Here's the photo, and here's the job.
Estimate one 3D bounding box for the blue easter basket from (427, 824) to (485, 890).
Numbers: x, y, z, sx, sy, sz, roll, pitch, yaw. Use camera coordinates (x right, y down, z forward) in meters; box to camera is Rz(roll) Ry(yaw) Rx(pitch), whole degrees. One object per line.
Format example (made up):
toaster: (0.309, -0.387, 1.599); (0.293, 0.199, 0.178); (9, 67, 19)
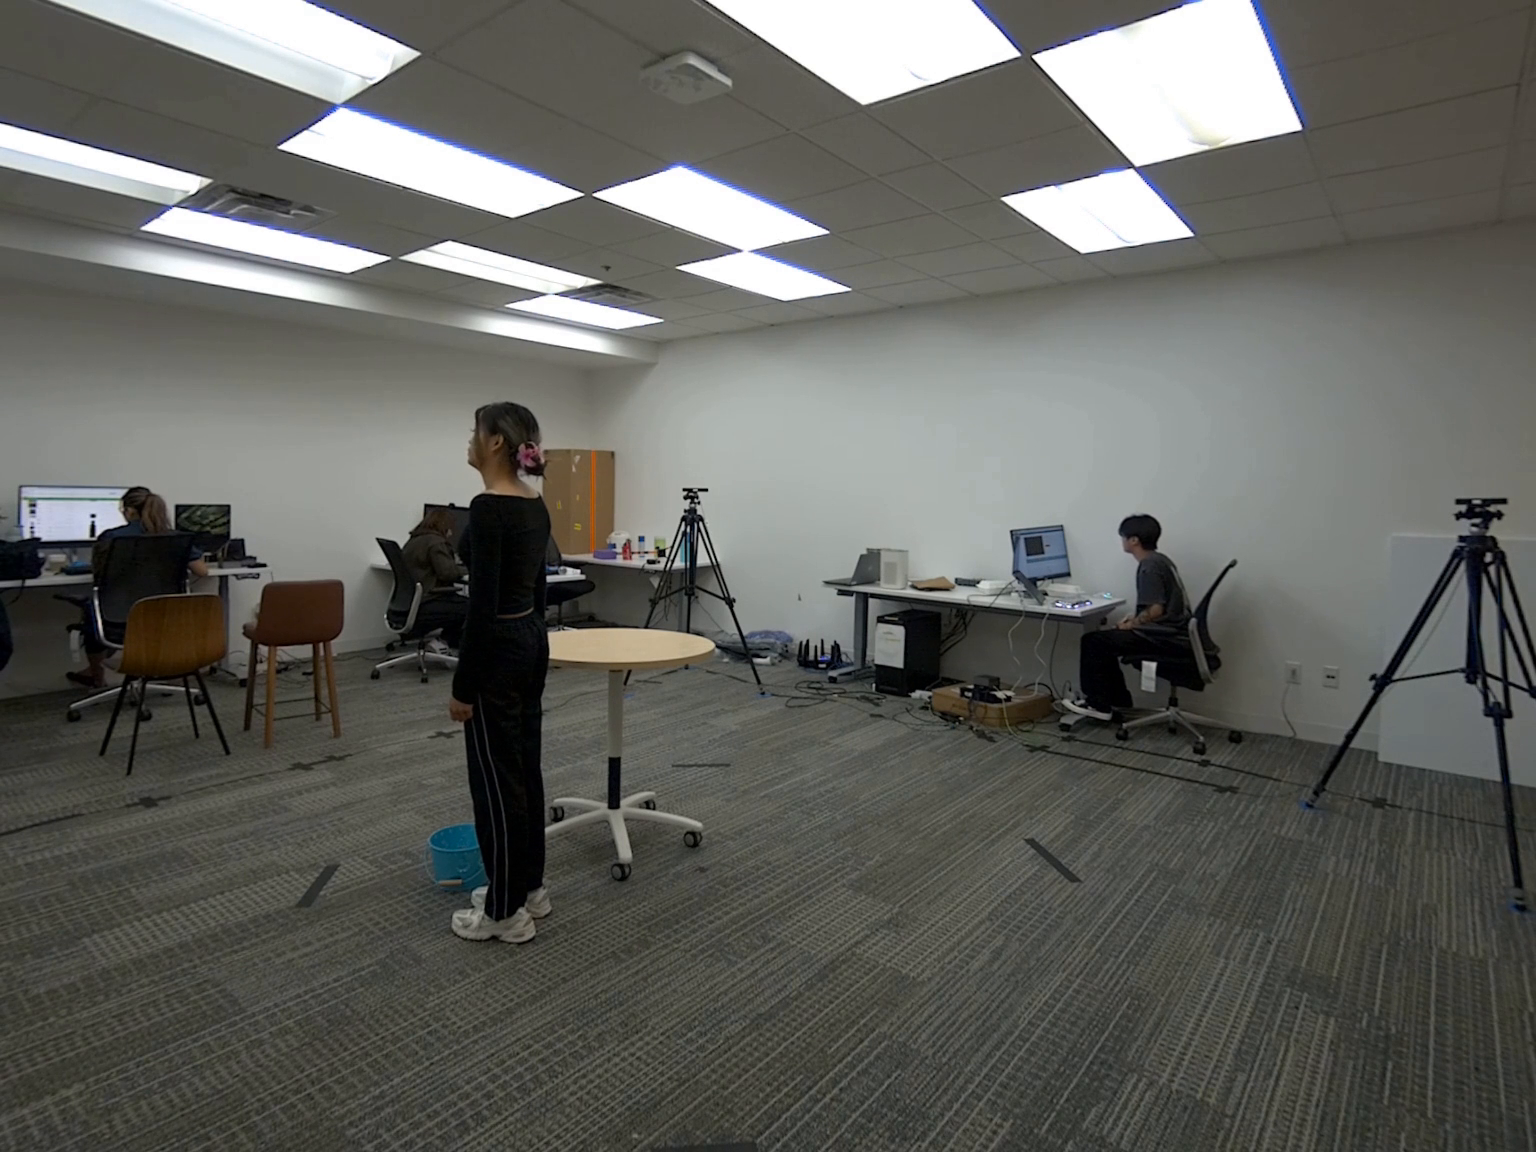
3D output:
blue easter basket: (-1.090, 0.989, 2.994); (0.243, 0.155, 0.245); (1, 5, -2)
